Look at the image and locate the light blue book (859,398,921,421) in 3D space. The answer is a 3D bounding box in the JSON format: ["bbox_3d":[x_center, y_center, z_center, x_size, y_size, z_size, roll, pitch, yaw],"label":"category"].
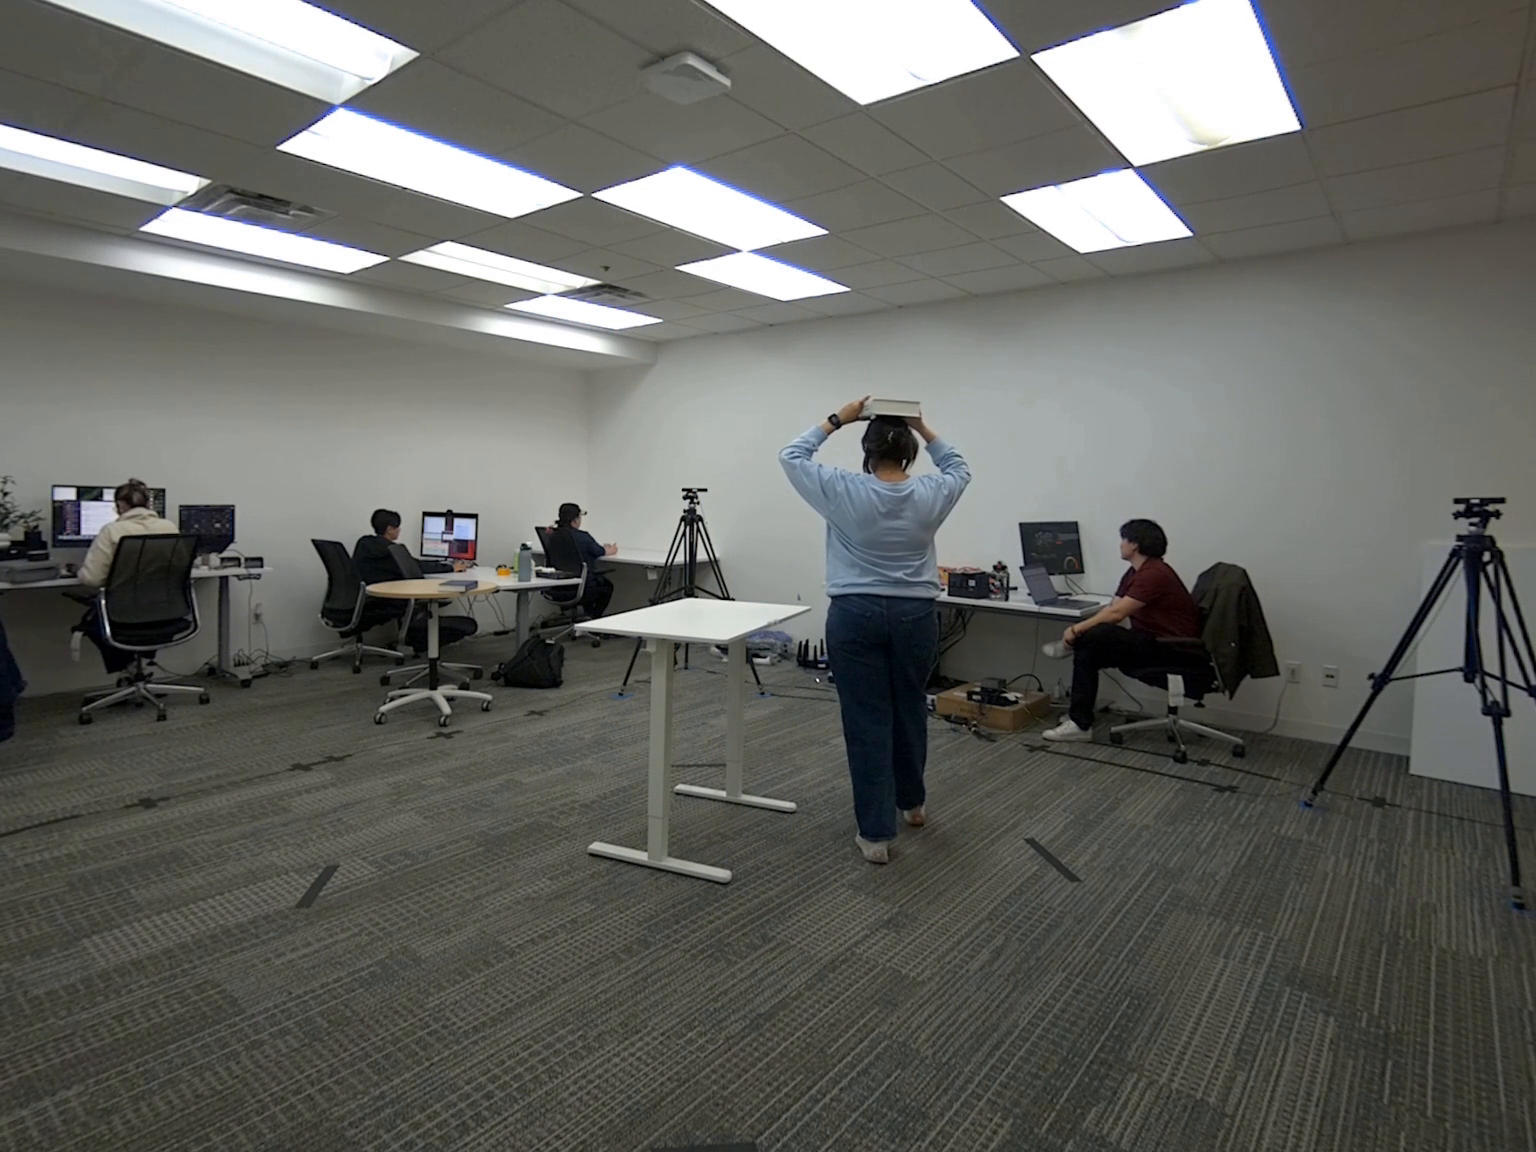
[{"bbox_3d":[0.470,-0.652,3.302,0.191,0.059,0.262,3,4,-1],"label":"light blue book"}]
